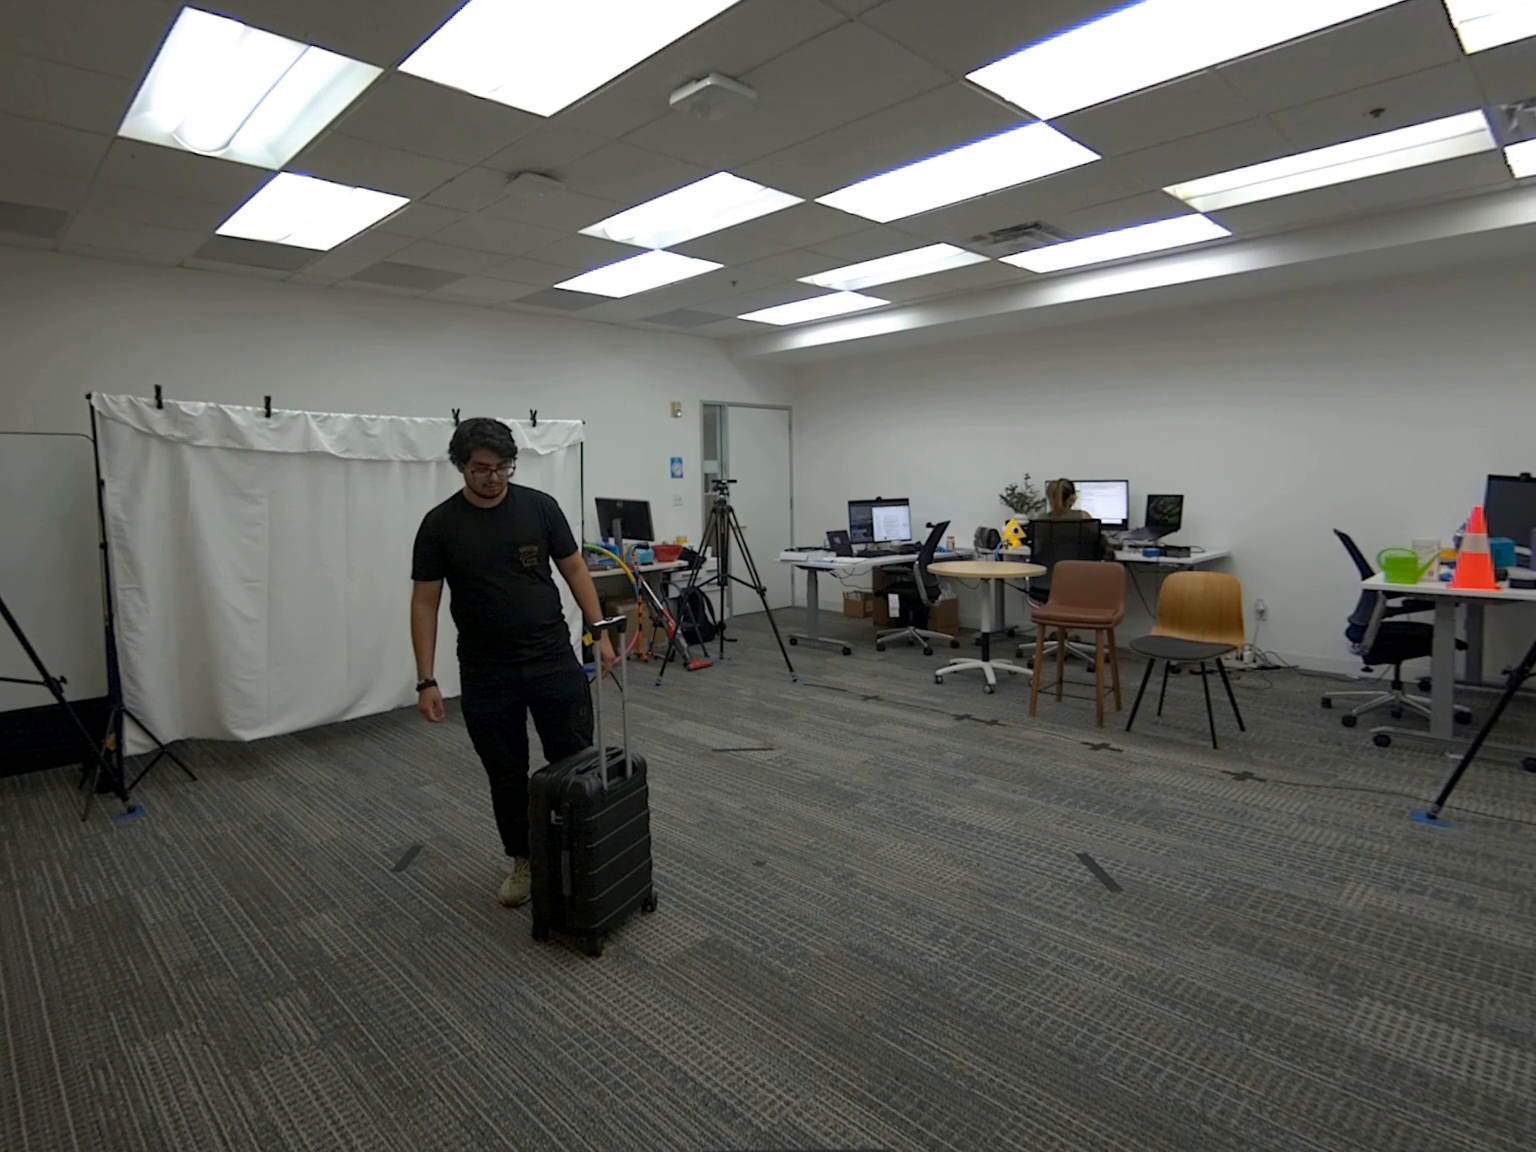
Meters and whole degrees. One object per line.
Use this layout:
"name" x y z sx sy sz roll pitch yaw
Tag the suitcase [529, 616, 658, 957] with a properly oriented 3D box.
"suitcase" -0.555 0.628 2.656 0.262 0.975 0.377 -1 4 24
